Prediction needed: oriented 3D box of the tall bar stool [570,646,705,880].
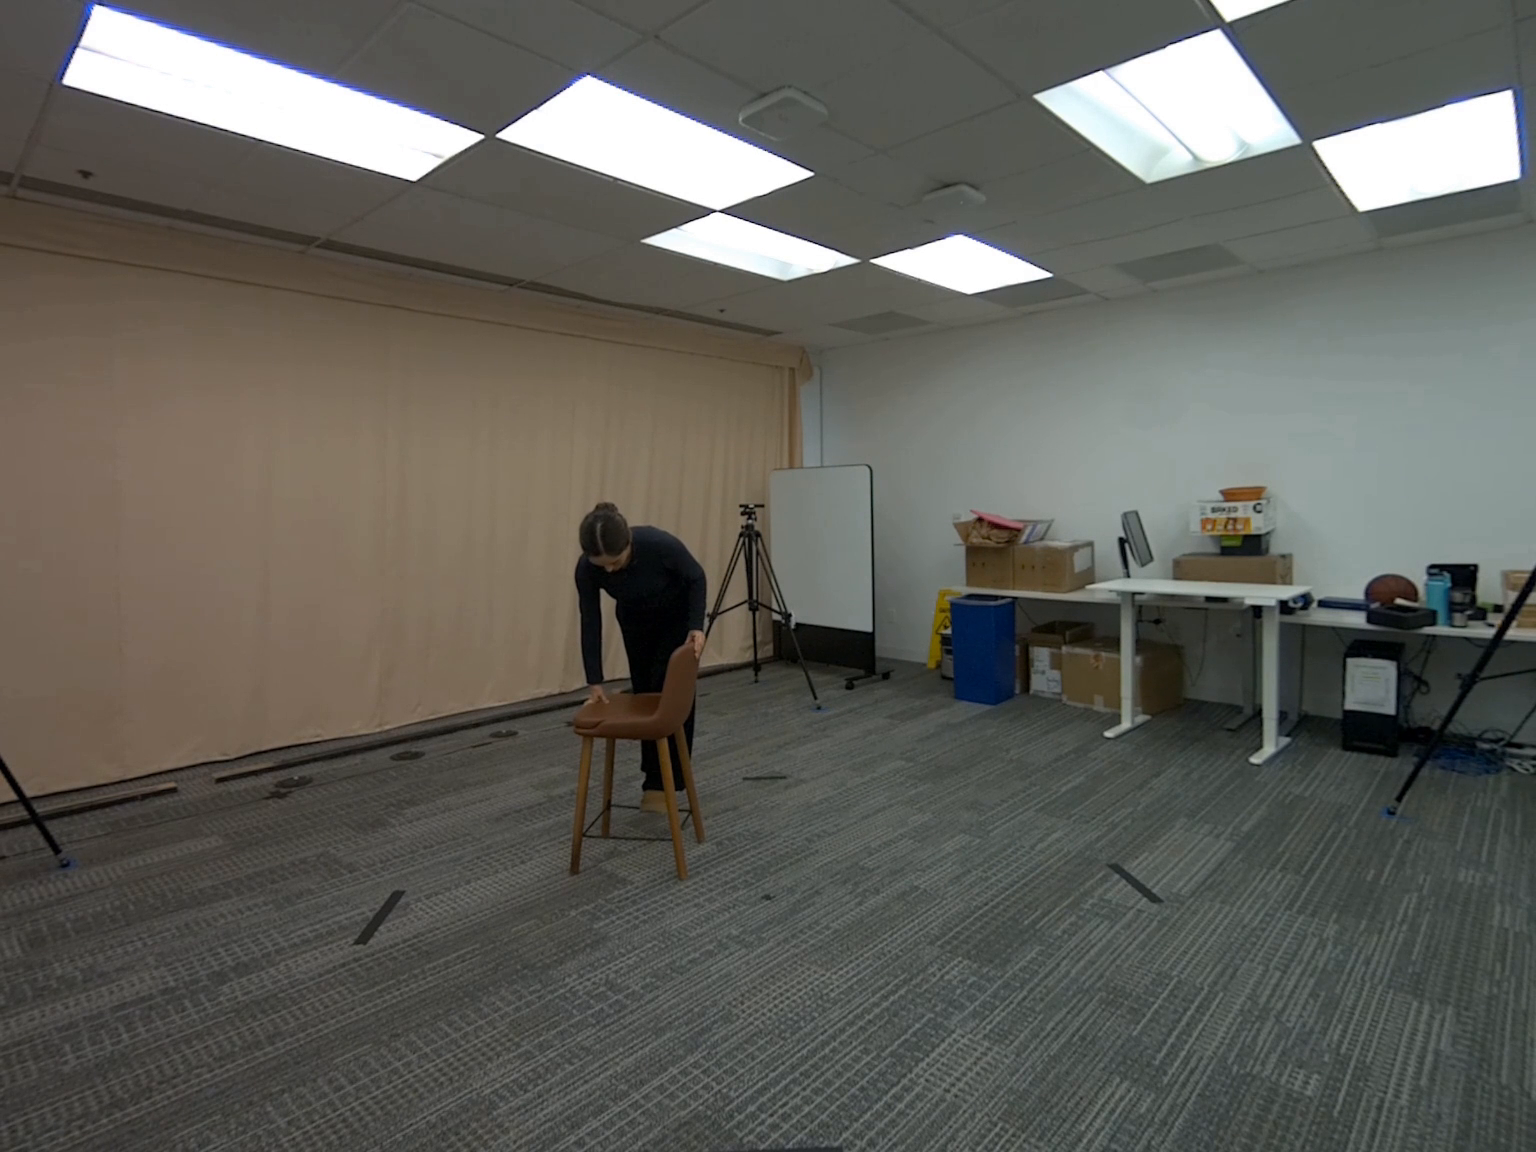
[{"bbox_3d":[-0.512,0.687,3.335,0.473,0.888,0.452,0,3,9],"label":"tall bar stool"}]
